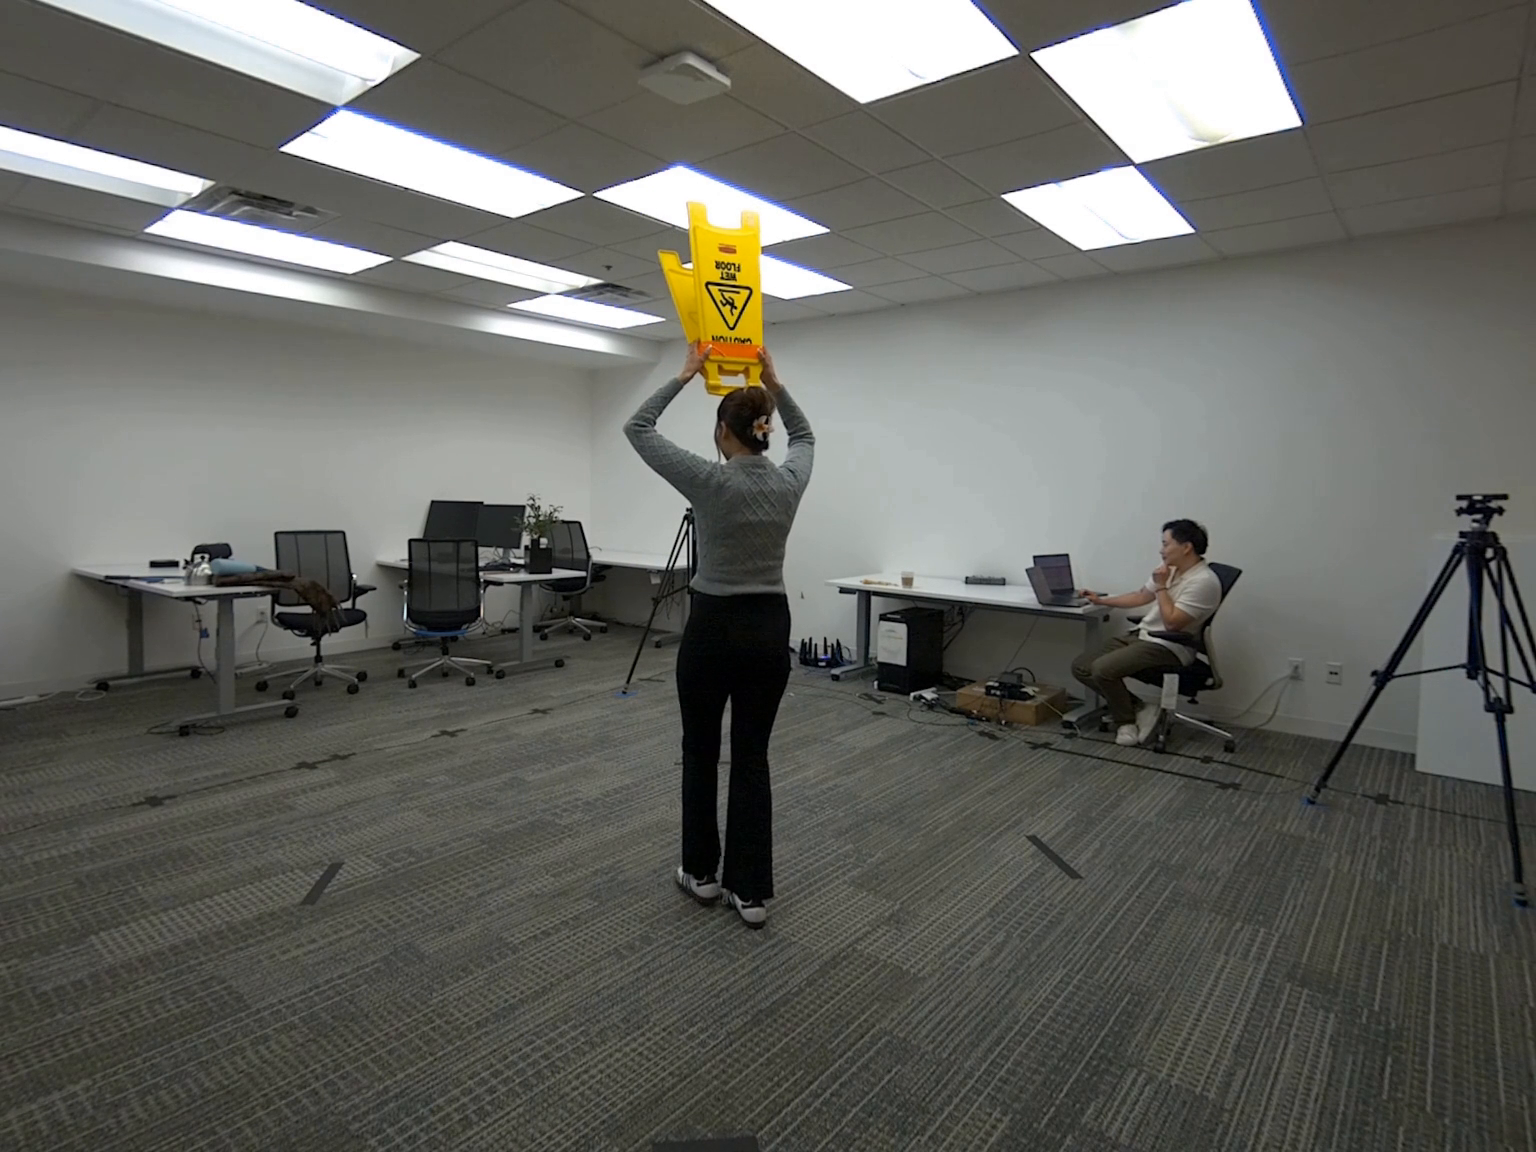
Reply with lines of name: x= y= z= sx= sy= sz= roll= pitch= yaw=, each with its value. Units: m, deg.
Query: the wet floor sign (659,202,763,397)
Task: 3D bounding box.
wet floor sign: x=-0.173 y=-0.918 z=2.933 sx=0.275 sy=0.658 sz=0.291 roll=-2 pitch=-18 yaw=-26
